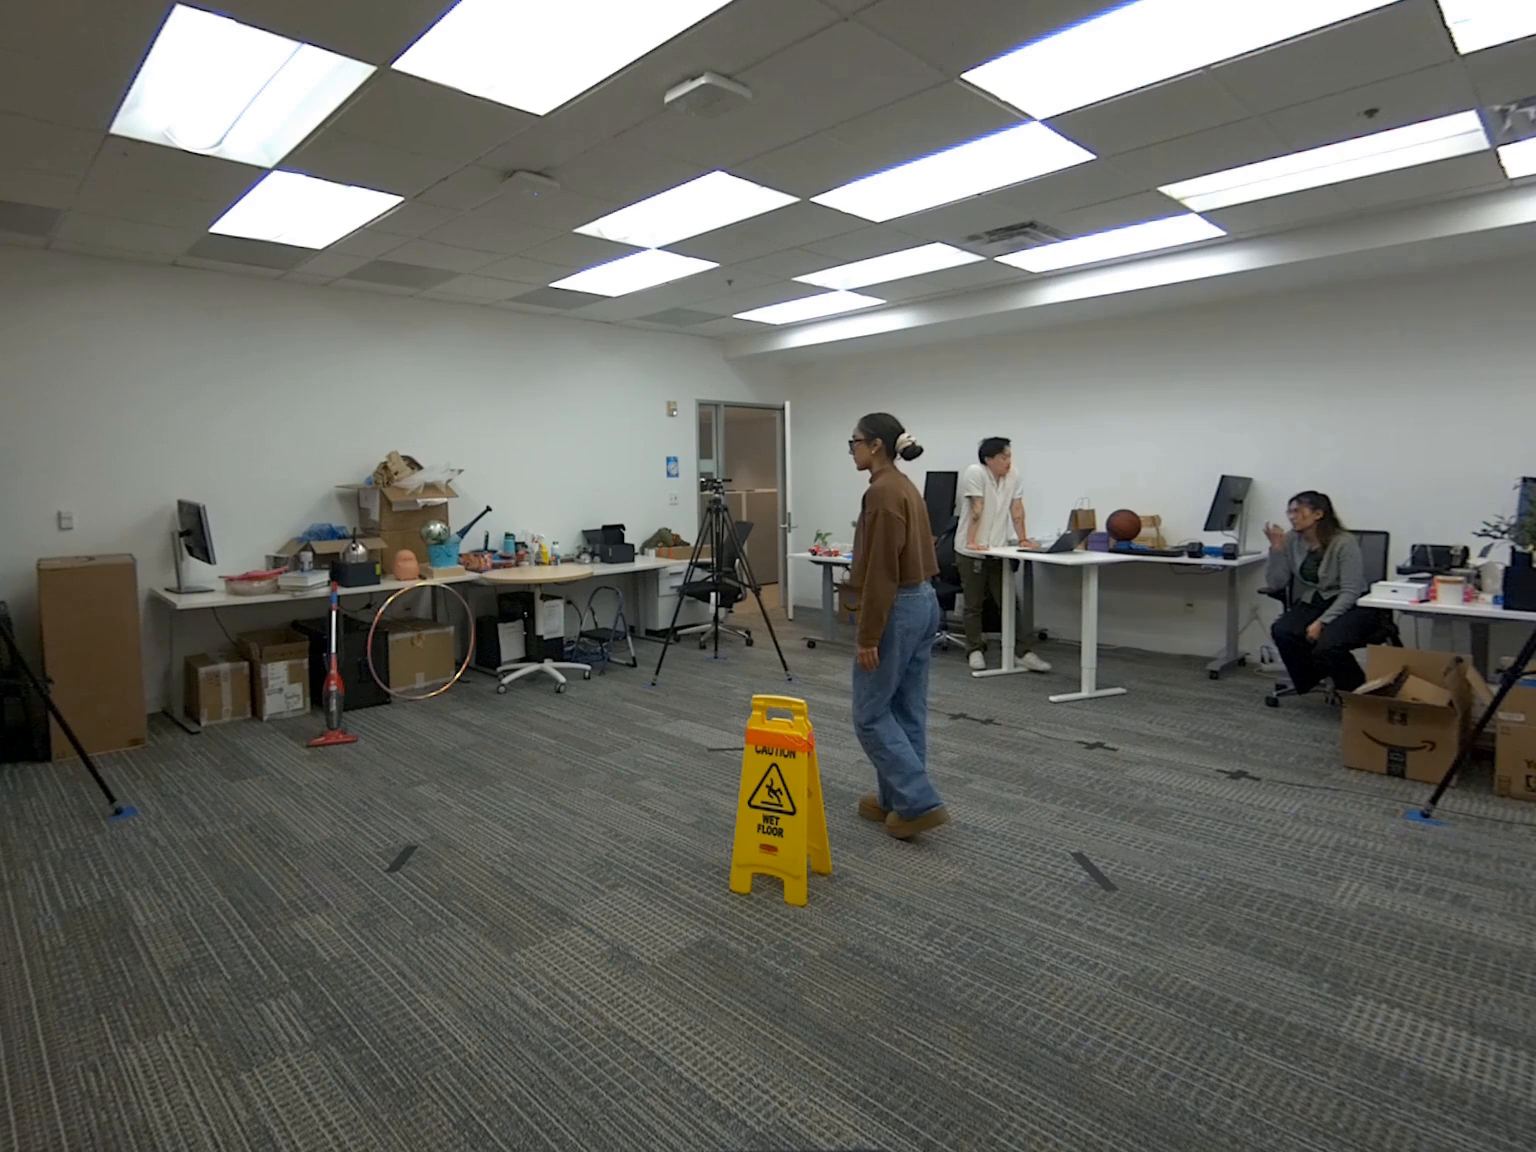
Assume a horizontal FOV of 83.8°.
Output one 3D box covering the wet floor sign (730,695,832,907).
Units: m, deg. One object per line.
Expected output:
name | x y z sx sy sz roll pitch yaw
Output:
wet floor sign | 0.049 0.737 2.943 0.289 0.644 0.284 2 4 25
